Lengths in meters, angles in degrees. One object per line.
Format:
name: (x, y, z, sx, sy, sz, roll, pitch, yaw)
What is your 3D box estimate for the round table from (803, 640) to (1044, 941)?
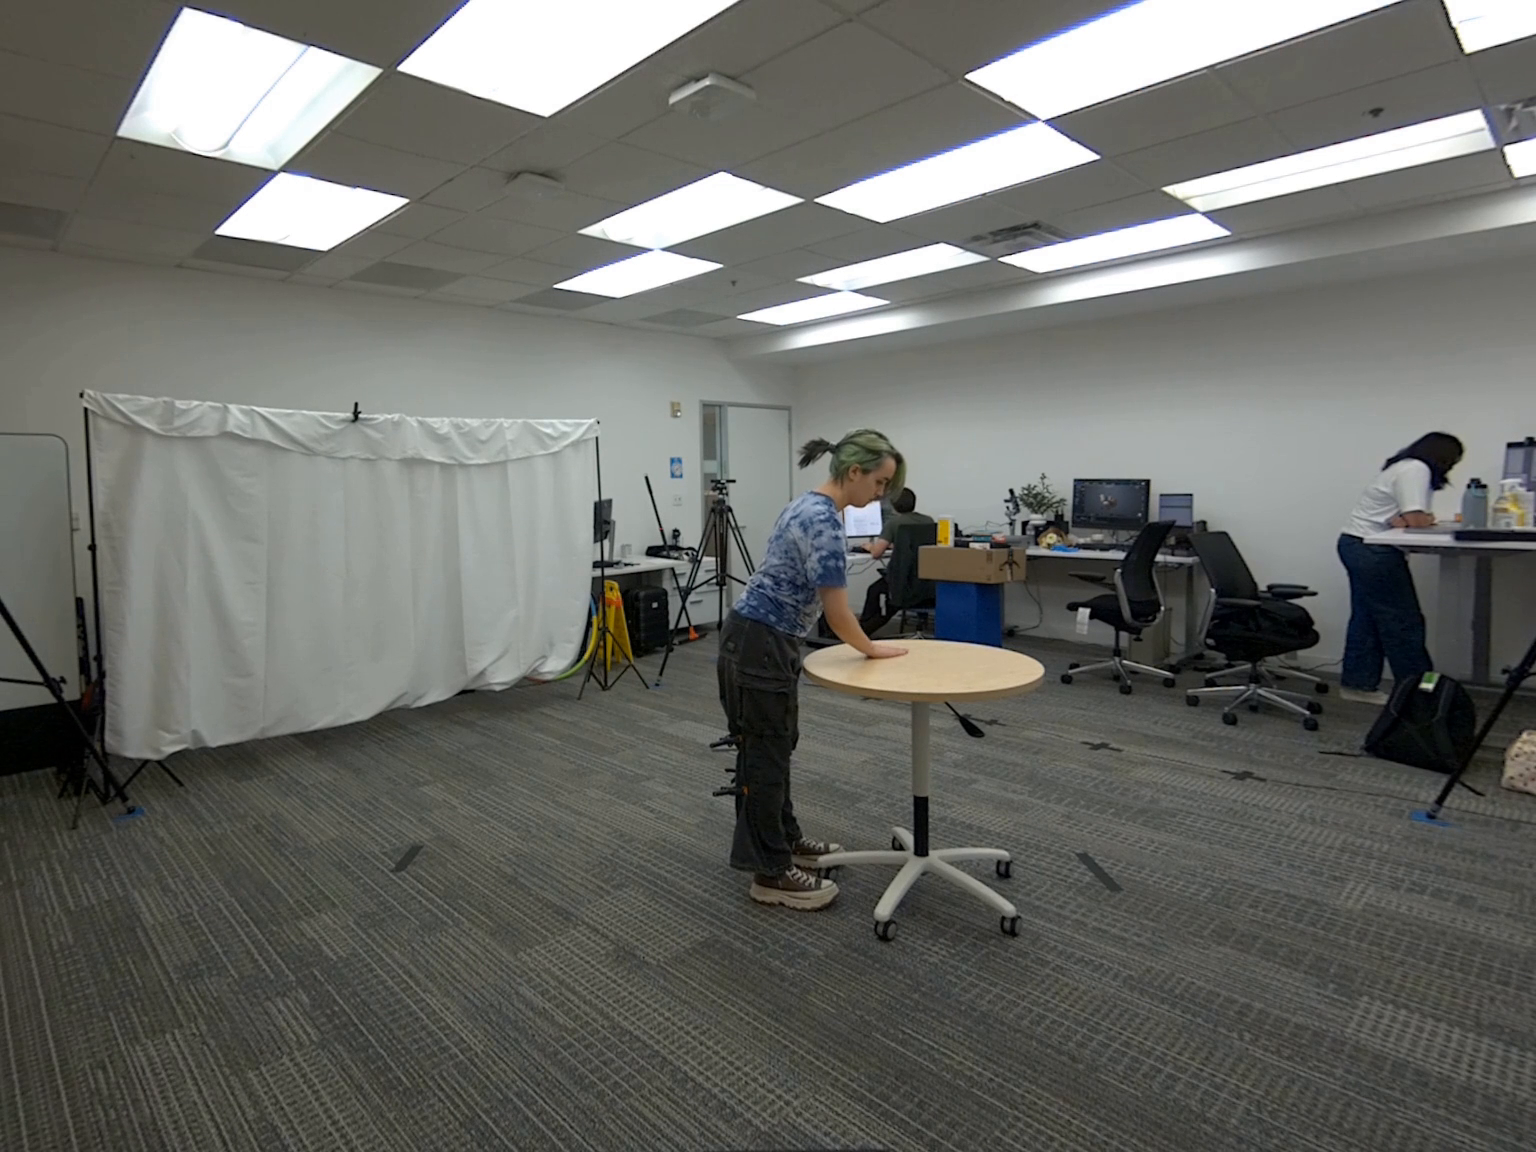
round table: (0.497, 0.675, 2.818, 0.784, 0.783, 0.789, -1, 5, -2)
